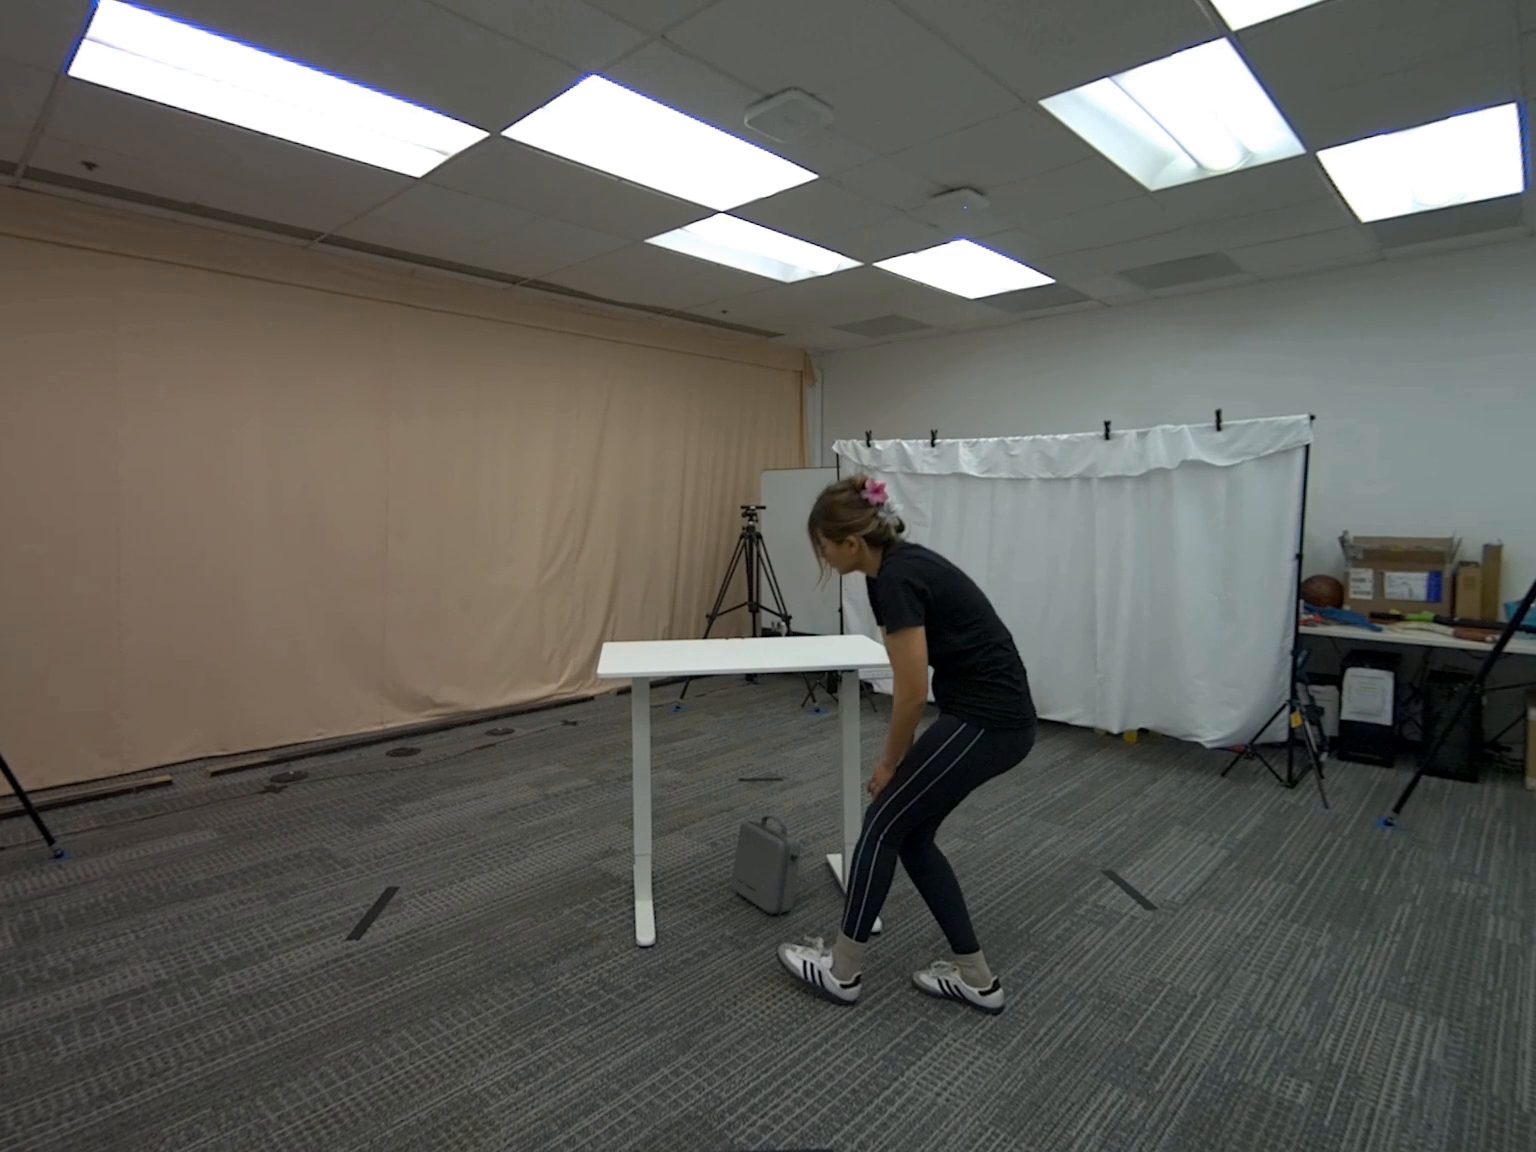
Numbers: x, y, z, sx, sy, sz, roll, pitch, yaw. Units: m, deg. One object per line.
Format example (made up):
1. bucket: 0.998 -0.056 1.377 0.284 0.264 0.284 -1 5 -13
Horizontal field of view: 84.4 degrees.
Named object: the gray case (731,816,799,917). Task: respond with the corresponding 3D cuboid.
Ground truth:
1. gray case: -0.005 1.016 2.962 0.101 0.261 0.265 10 -2 -35
